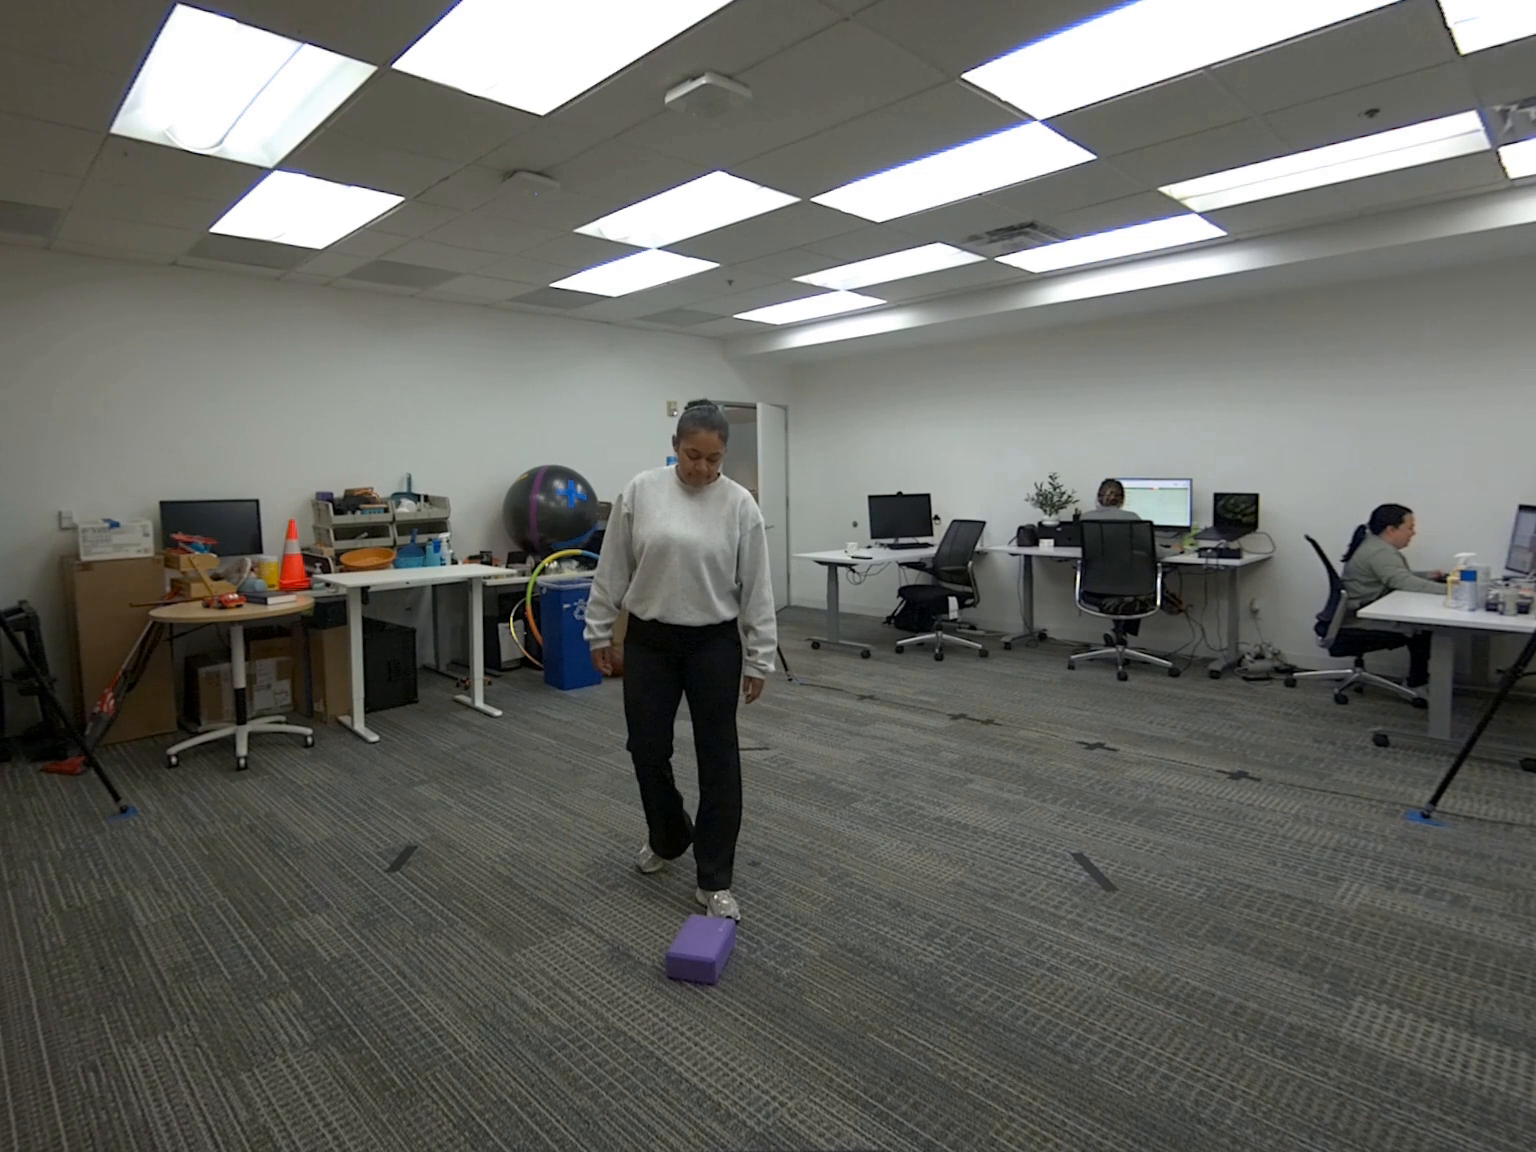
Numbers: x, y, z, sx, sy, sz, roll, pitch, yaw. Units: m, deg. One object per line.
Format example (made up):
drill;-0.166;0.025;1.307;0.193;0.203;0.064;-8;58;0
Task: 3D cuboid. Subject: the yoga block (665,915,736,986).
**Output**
yoga block;-0.190;1.084;2.484;0.151;0.076;0.227;0;6;14
